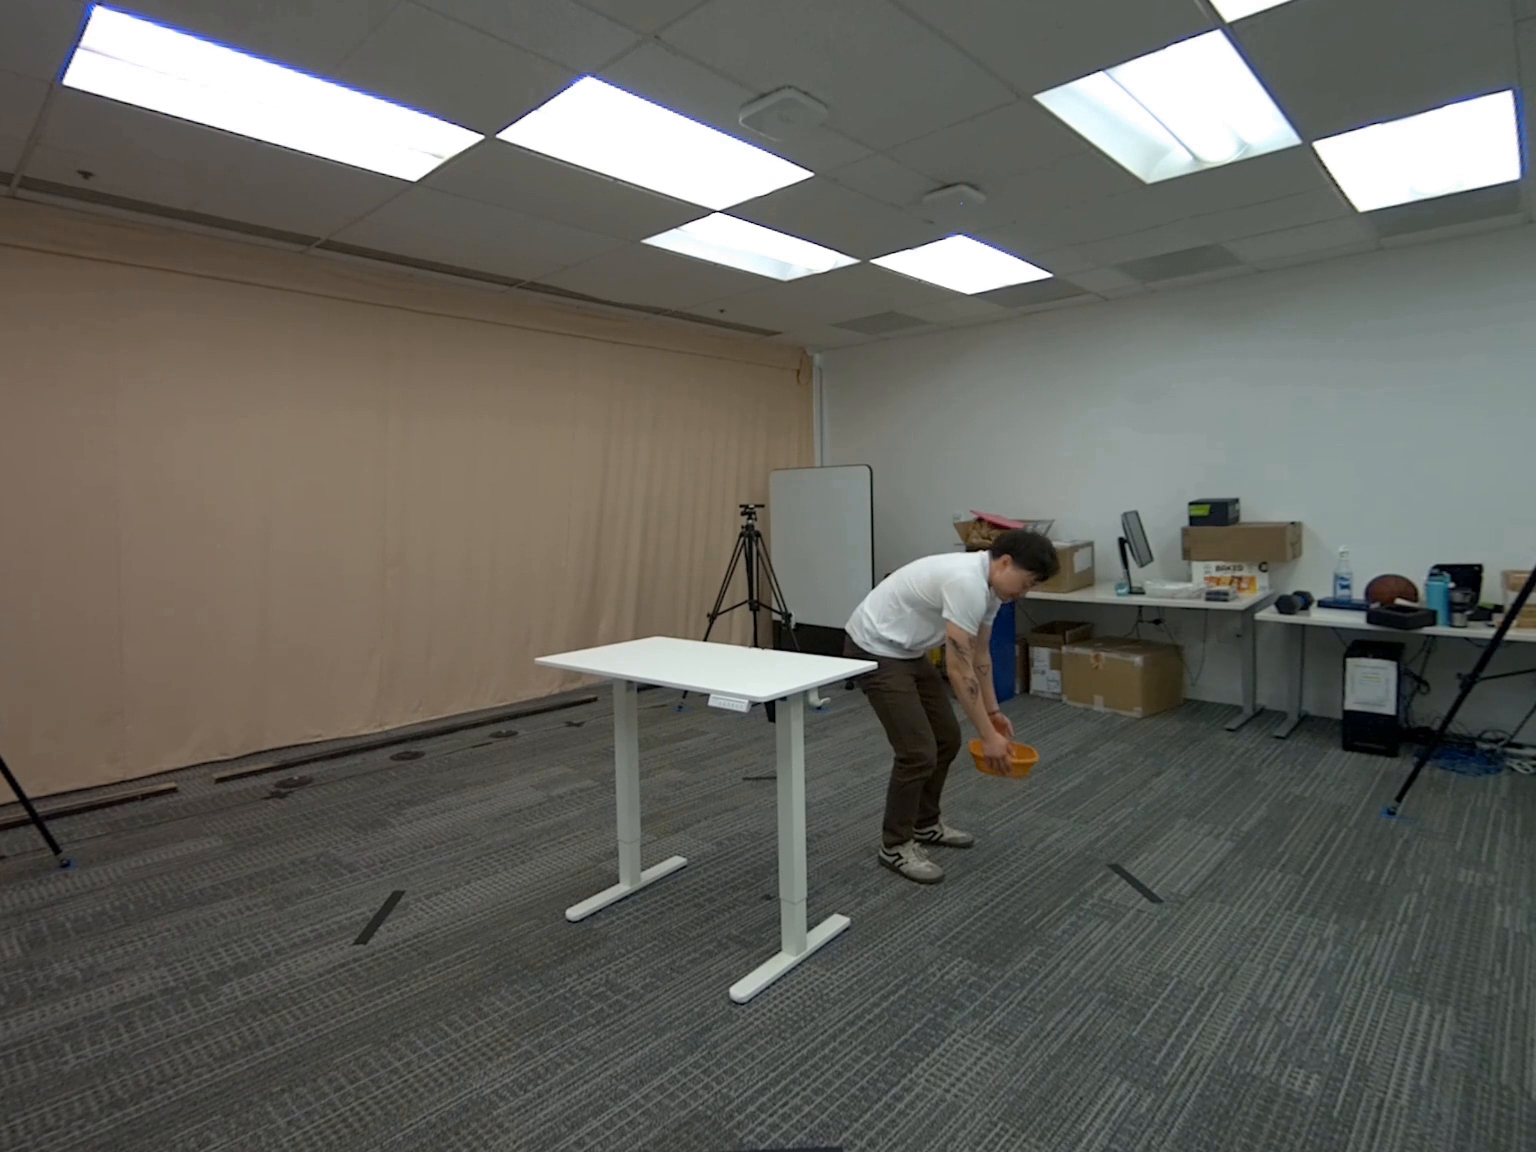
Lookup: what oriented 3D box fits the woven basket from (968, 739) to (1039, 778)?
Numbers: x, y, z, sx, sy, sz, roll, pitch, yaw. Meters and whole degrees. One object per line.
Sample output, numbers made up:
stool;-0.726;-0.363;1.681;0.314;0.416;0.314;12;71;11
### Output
woven basket;0.878;0.684;3.149;0.258;0.073;0.343;4;2;20
